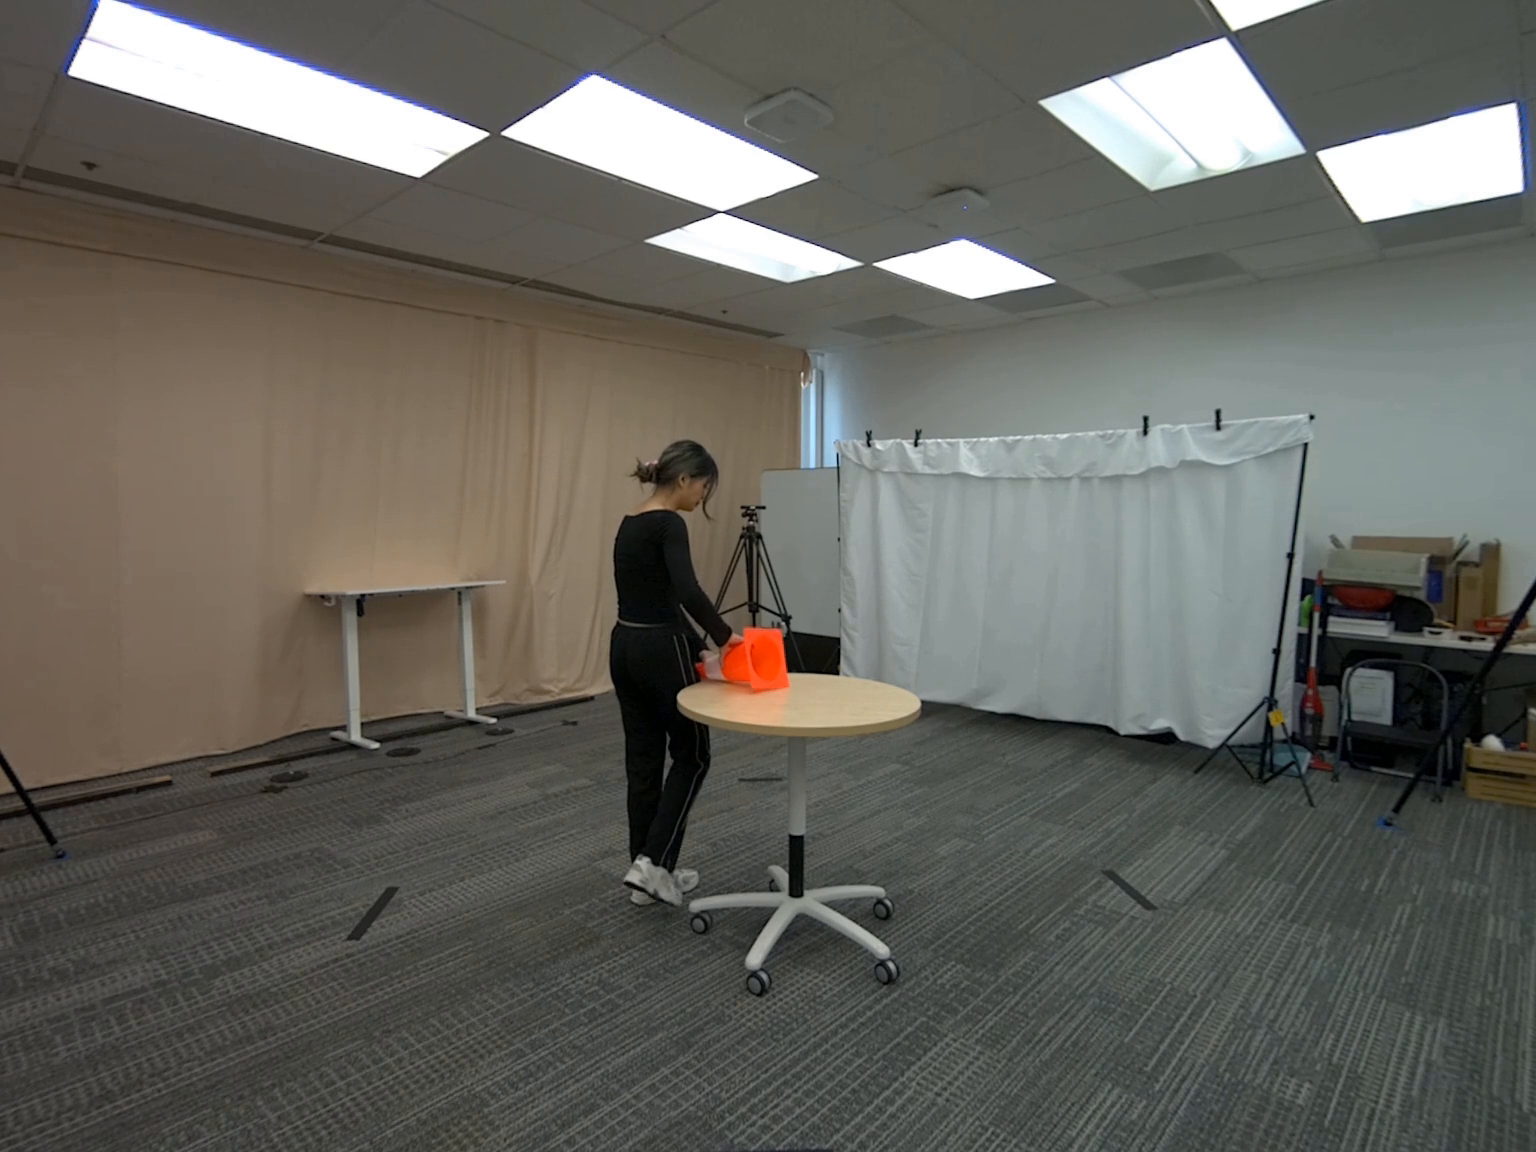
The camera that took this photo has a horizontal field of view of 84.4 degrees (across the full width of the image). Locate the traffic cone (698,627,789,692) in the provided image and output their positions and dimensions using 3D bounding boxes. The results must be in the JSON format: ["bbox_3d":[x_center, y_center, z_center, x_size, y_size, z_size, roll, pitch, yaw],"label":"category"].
[{"bbox_3d":[-0.141,0.310,2.901,0.393,0.207,0.196,-15,-14,39],"label":"traffic cone"}]
